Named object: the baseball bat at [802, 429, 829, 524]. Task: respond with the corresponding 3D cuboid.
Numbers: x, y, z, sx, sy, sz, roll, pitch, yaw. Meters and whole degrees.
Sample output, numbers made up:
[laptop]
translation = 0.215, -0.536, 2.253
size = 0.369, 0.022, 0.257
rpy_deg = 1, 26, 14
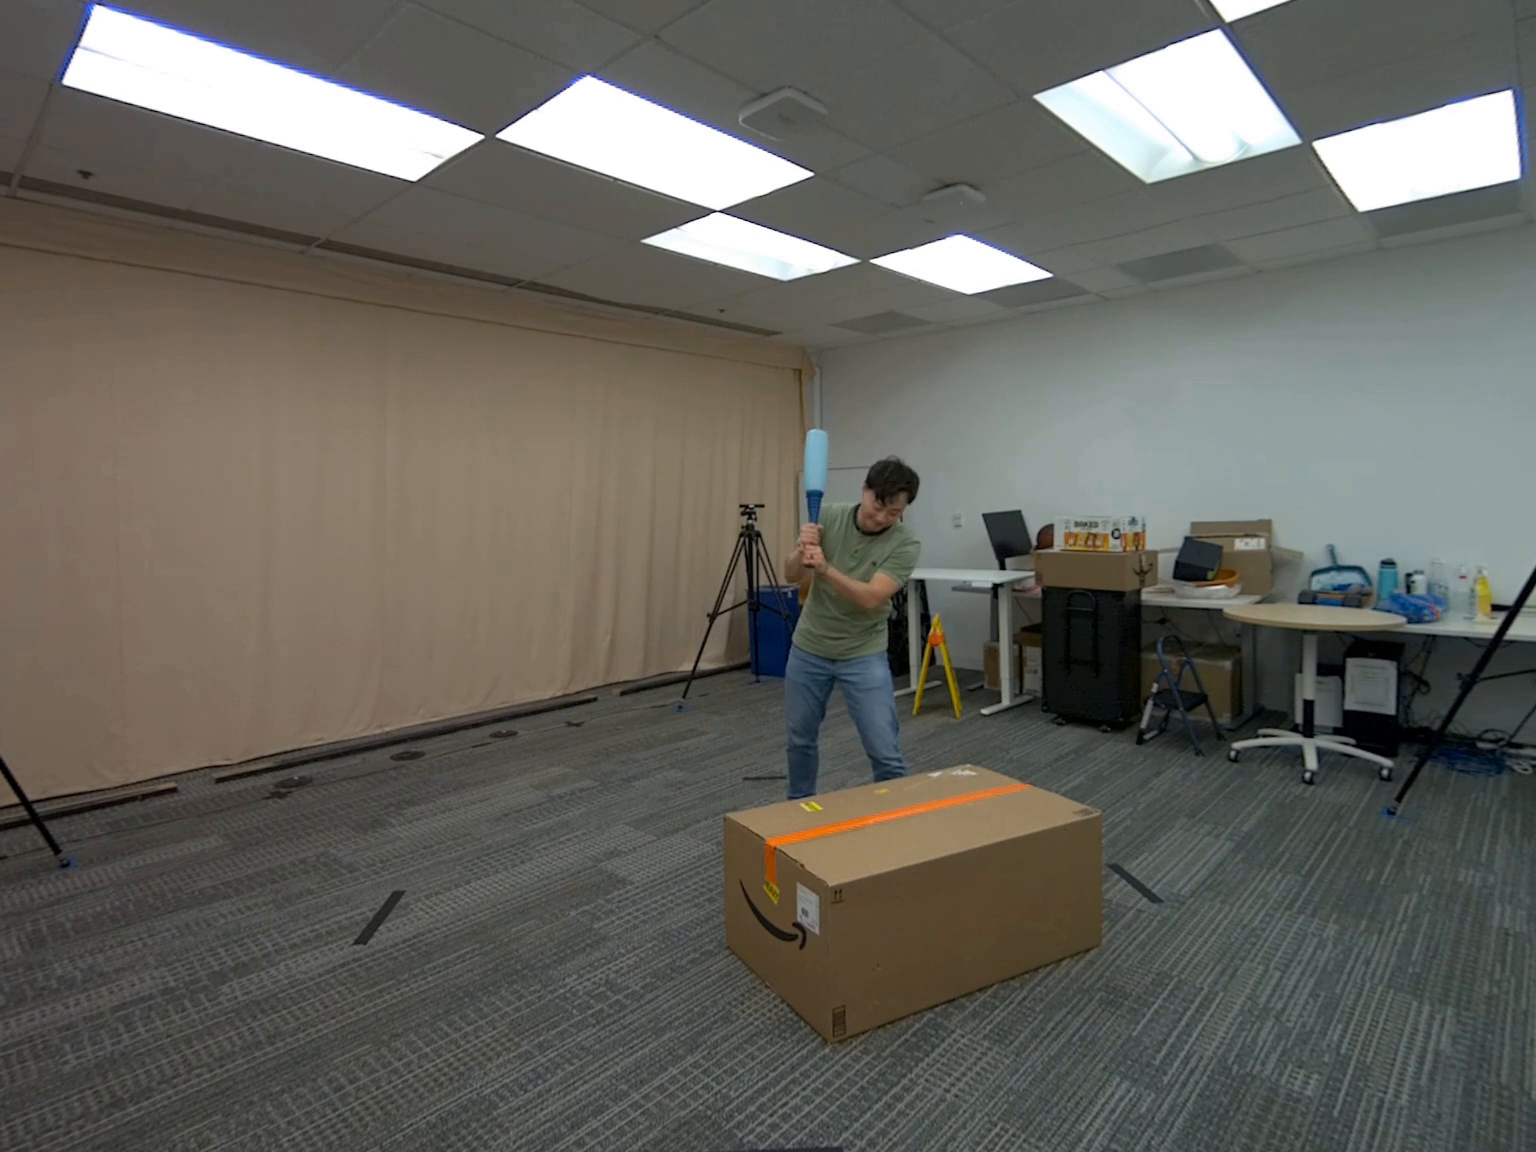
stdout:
[baseball bat]
translation = 0.202, -0.258, 3.162
size = 0.089, 0.548, 0.088
rpy_deg = 2, -17, -1
